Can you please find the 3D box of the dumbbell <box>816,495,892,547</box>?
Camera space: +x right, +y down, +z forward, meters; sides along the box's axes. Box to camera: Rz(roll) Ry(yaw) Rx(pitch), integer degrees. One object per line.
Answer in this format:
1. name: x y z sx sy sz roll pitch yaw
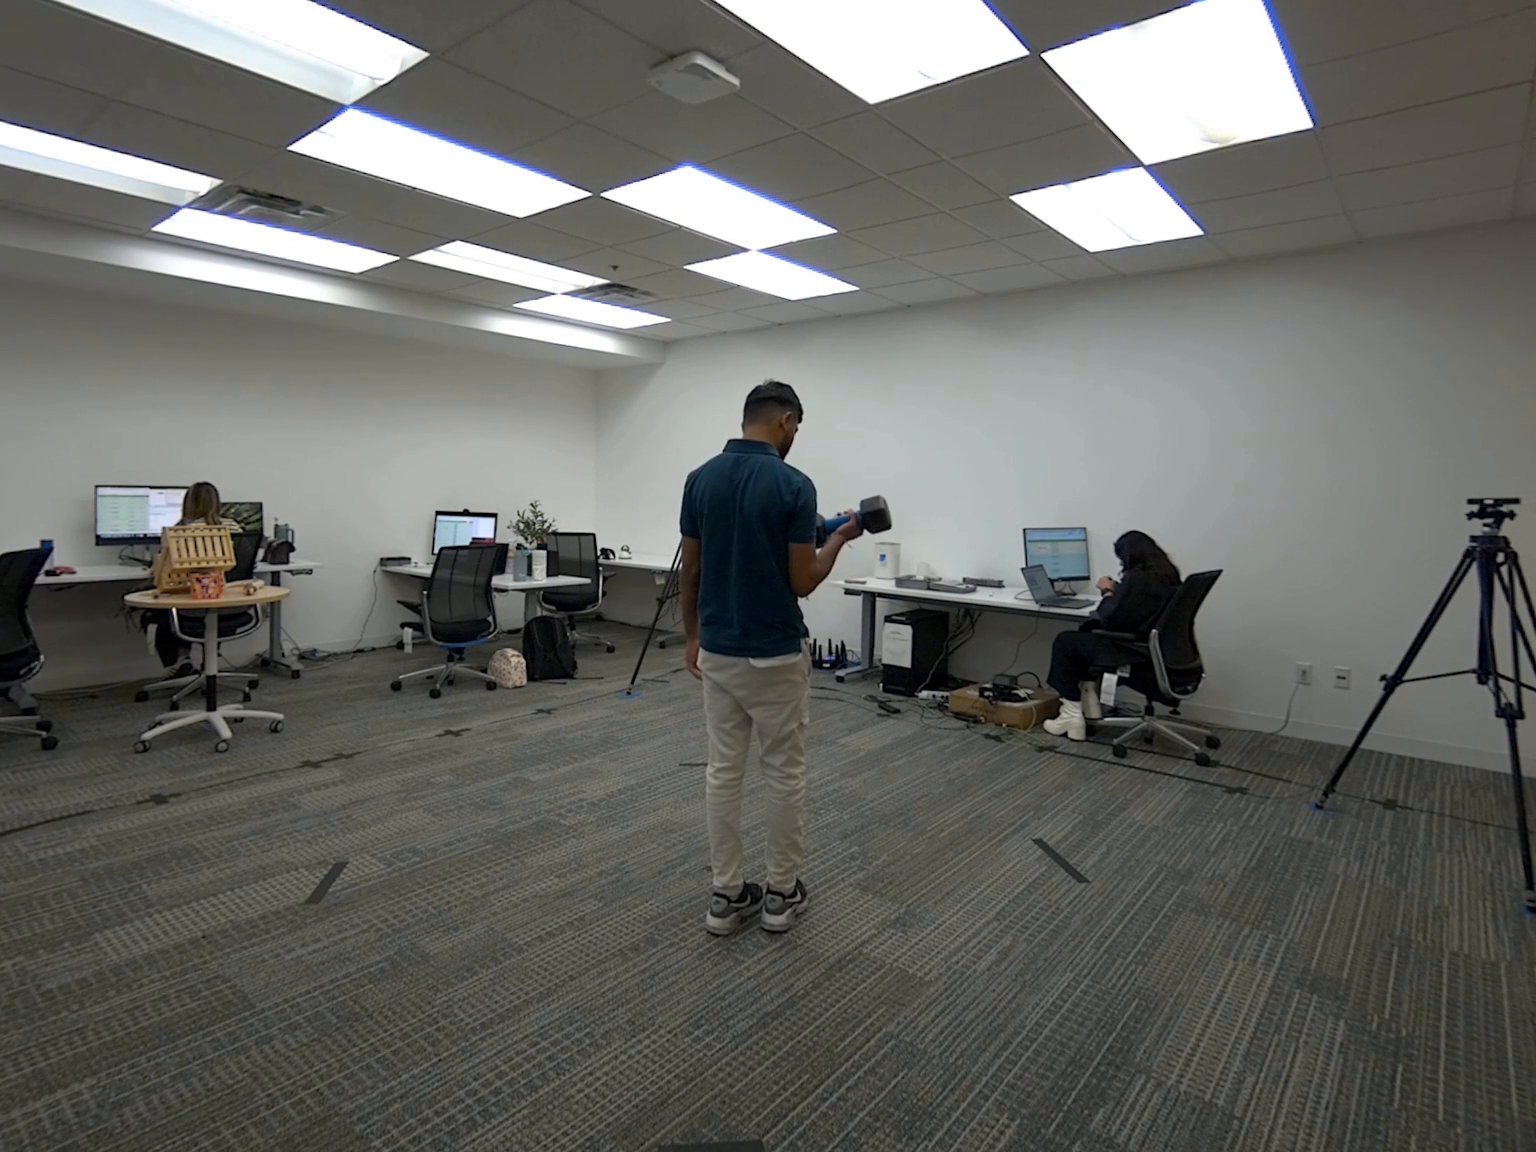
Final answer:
1. dumbbell: 0.245 -0.160 2.780 0.298 0.121 0.109 -15 15 19
